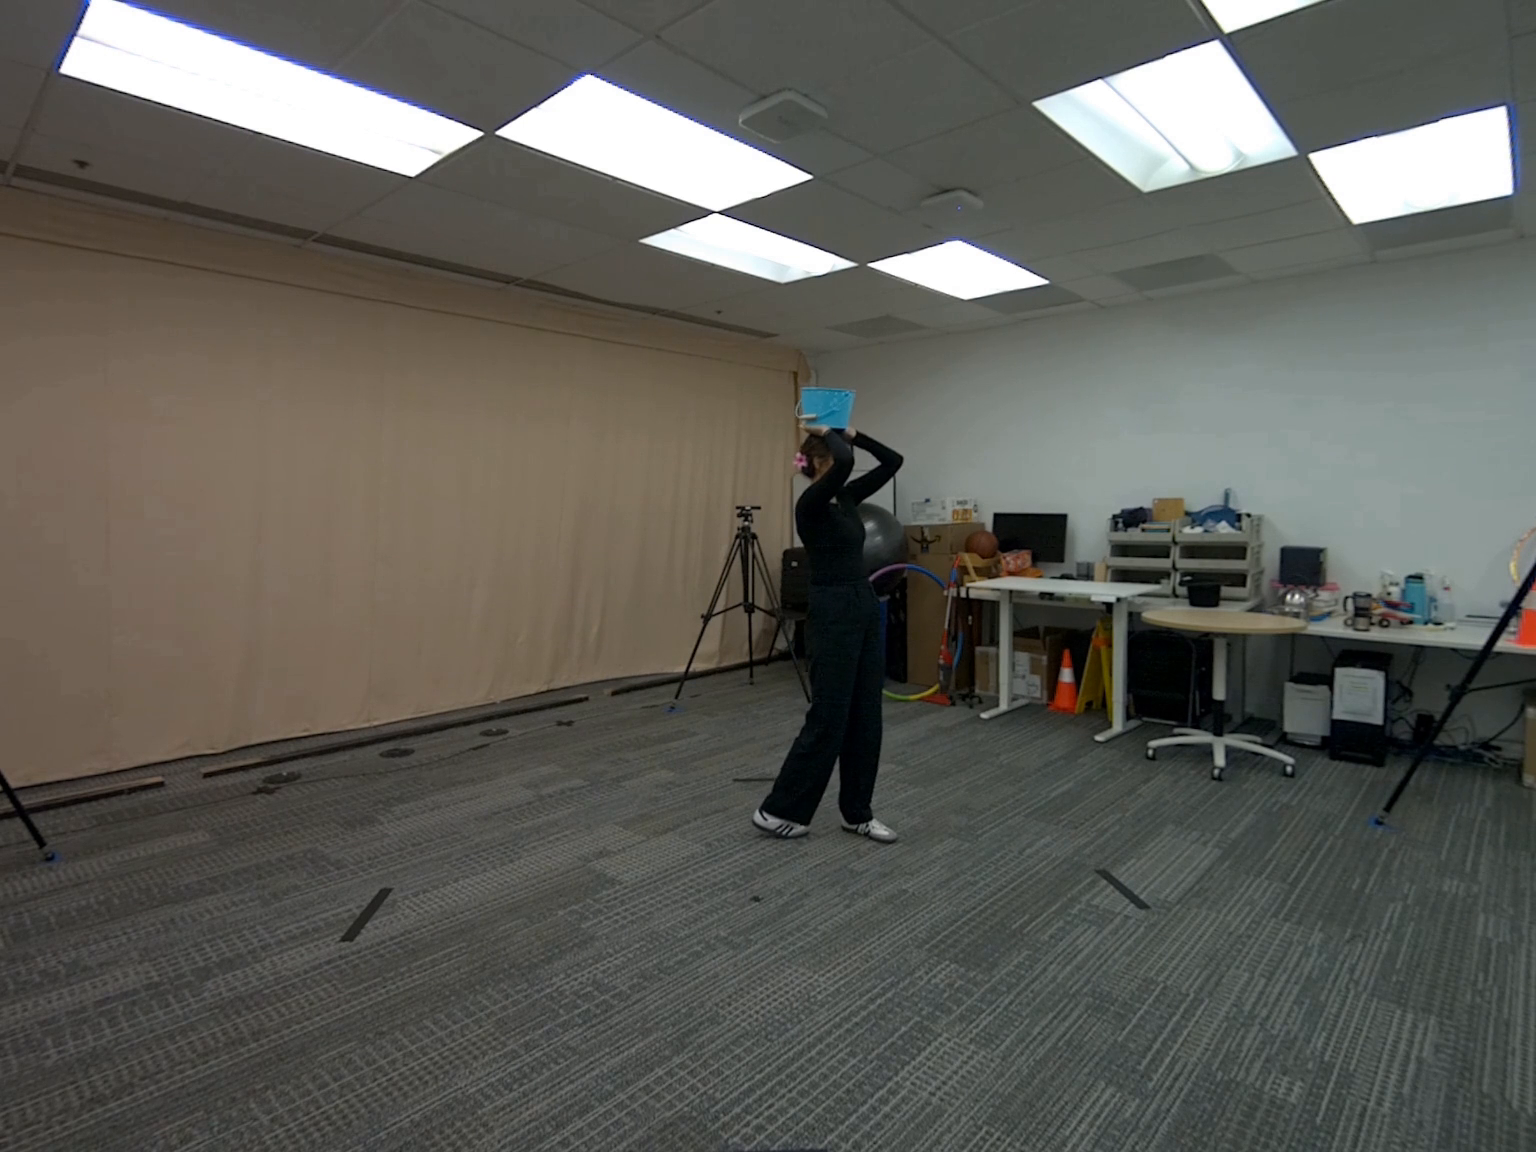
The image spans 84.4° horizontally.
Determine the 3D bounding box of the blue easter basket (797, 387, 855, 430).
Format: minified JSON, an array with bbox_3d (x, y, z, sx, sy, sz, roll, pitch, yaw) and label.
[{"bbox_3d":[0.240,-0.693,3.482,0.243,0.155,0.245,4,6,-2],"label":"blue easter basket"}]
